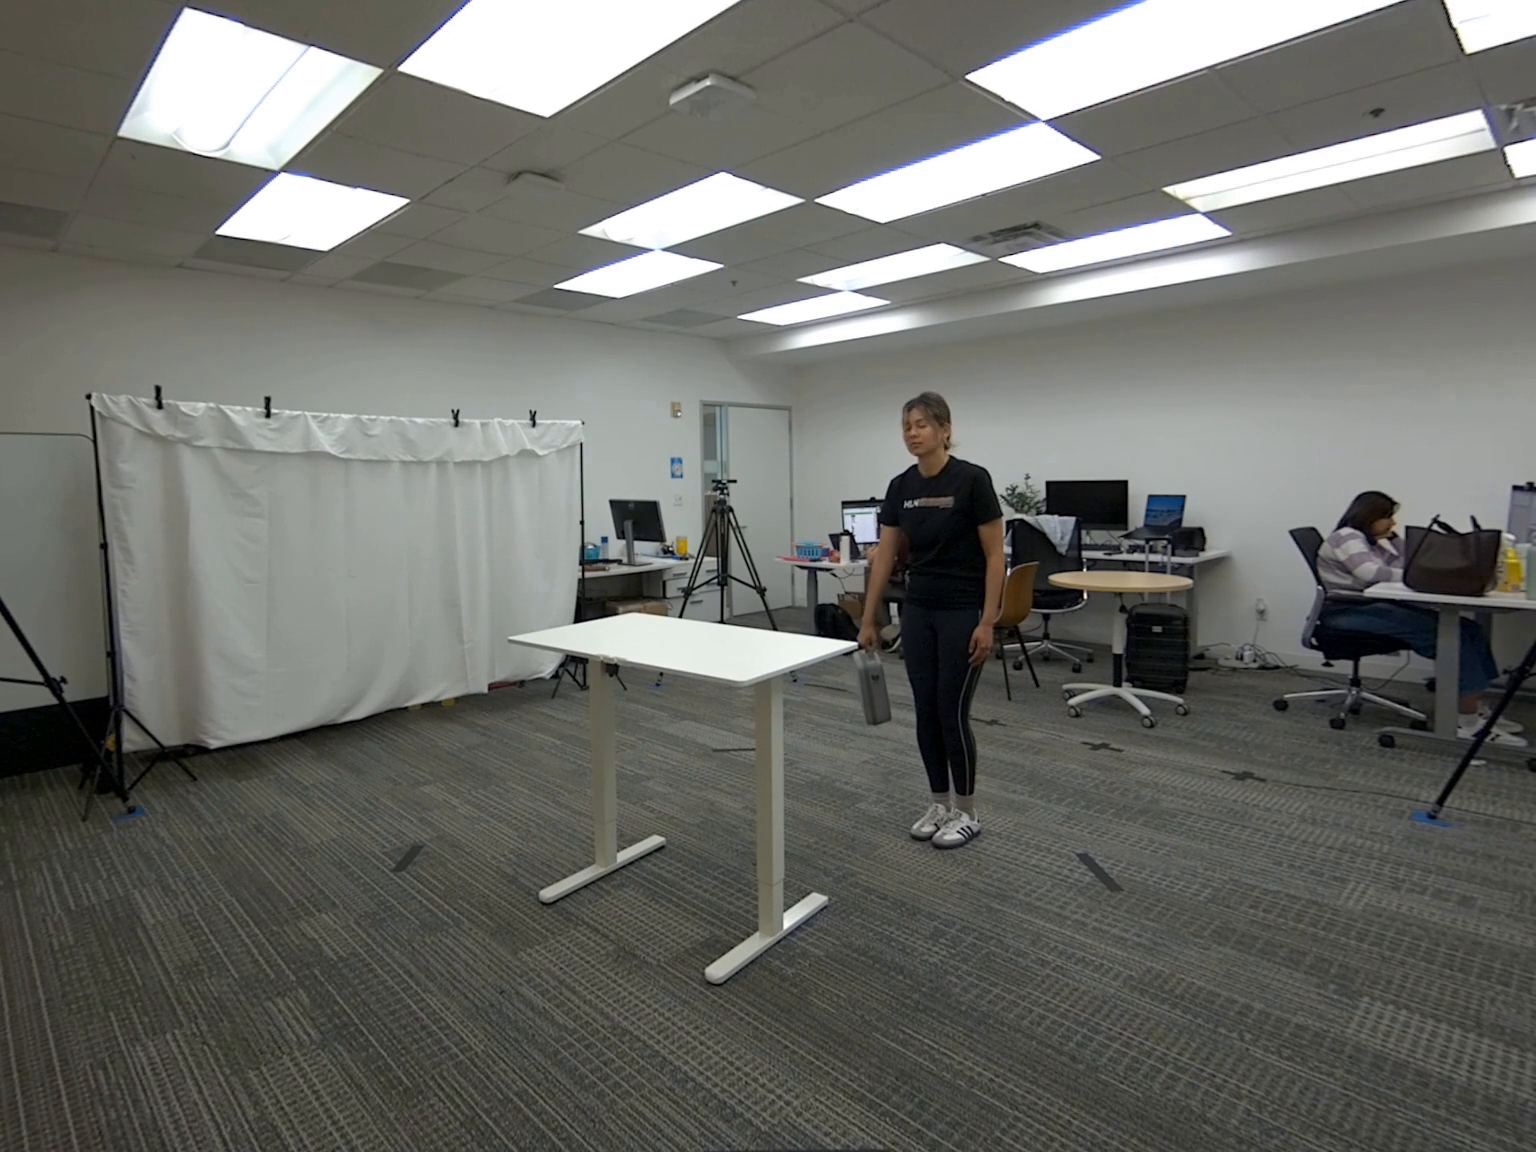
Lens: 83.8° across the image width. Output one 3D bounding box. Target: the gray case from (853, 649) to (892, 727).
[{"bbox_3d":[0.425,0.442,3.457,0.105,0.258,0.258,-11,8,4],"label":"gray case"}]
